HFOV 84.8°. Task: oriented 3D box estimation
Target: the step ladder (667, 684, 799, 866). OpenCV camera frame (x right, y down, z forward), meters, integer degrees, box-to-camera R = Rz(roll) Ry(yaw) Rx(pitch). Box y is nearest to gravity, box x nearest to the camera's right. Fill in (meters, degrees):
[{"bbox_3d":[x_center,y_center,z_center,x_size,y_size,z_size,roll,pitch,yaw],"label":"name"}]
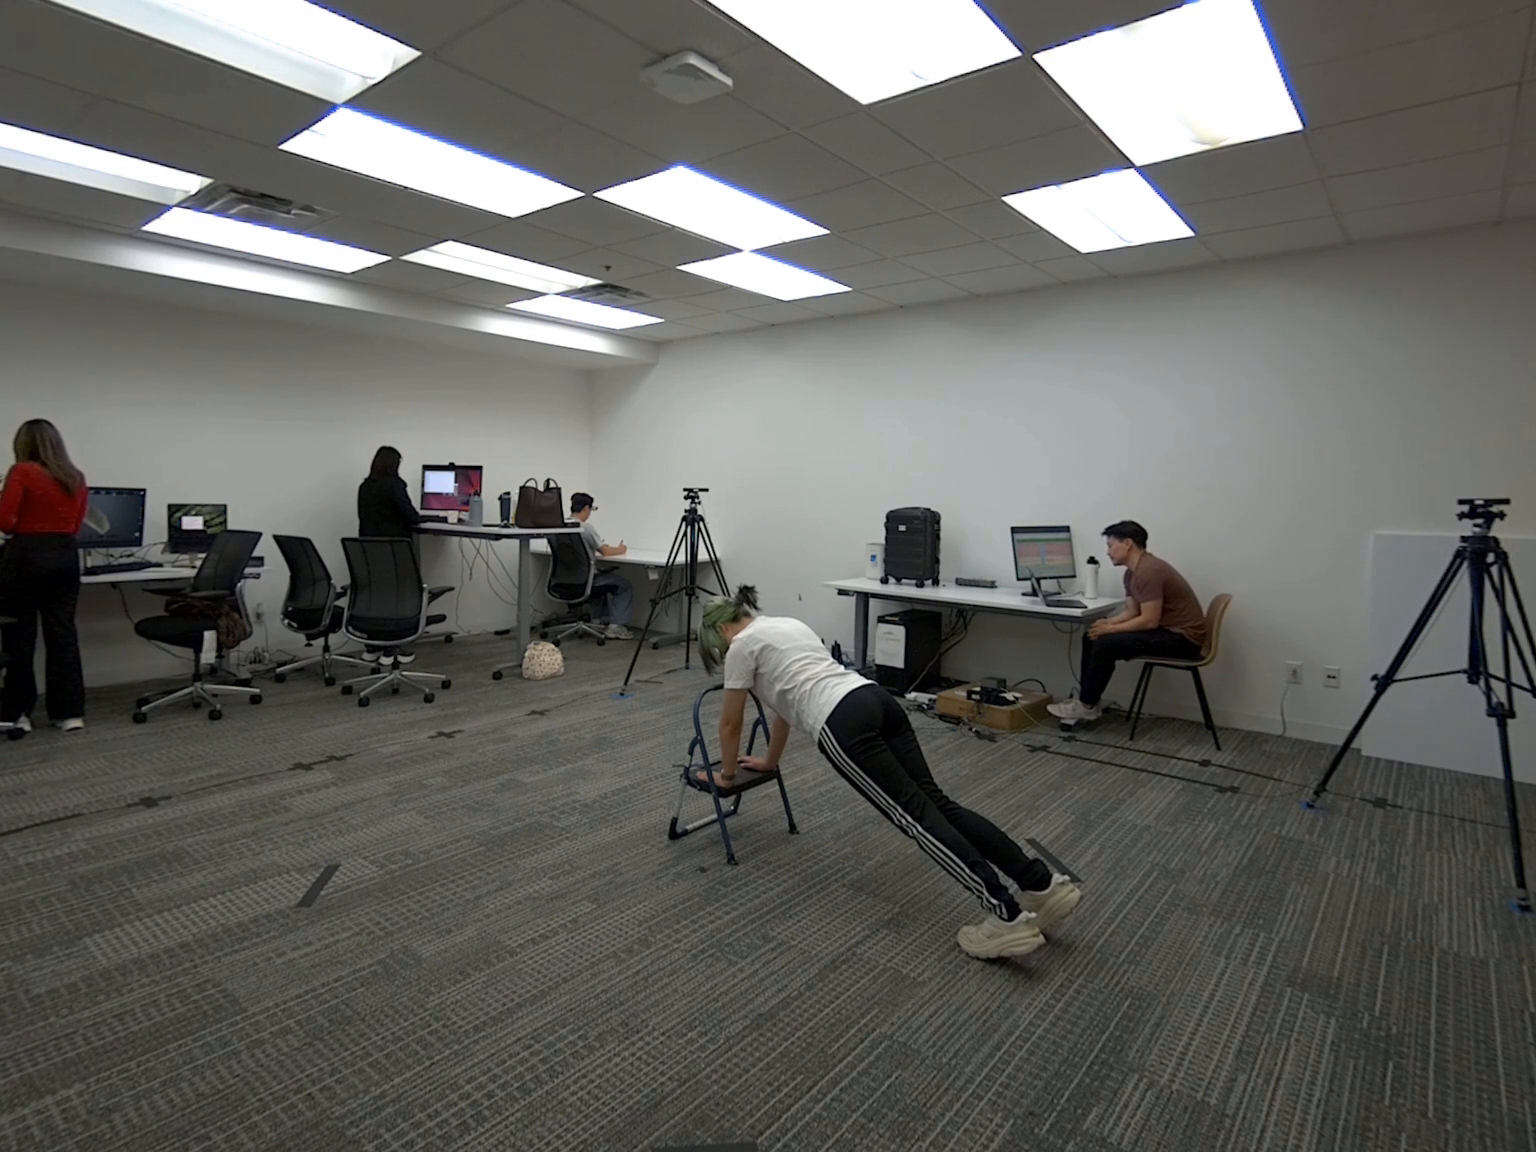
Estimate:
[{"bbox_3d":[-0.144,0.740,3.403,0.361,0.604,0.418,4,4,38],"label":"step ladder"}]
